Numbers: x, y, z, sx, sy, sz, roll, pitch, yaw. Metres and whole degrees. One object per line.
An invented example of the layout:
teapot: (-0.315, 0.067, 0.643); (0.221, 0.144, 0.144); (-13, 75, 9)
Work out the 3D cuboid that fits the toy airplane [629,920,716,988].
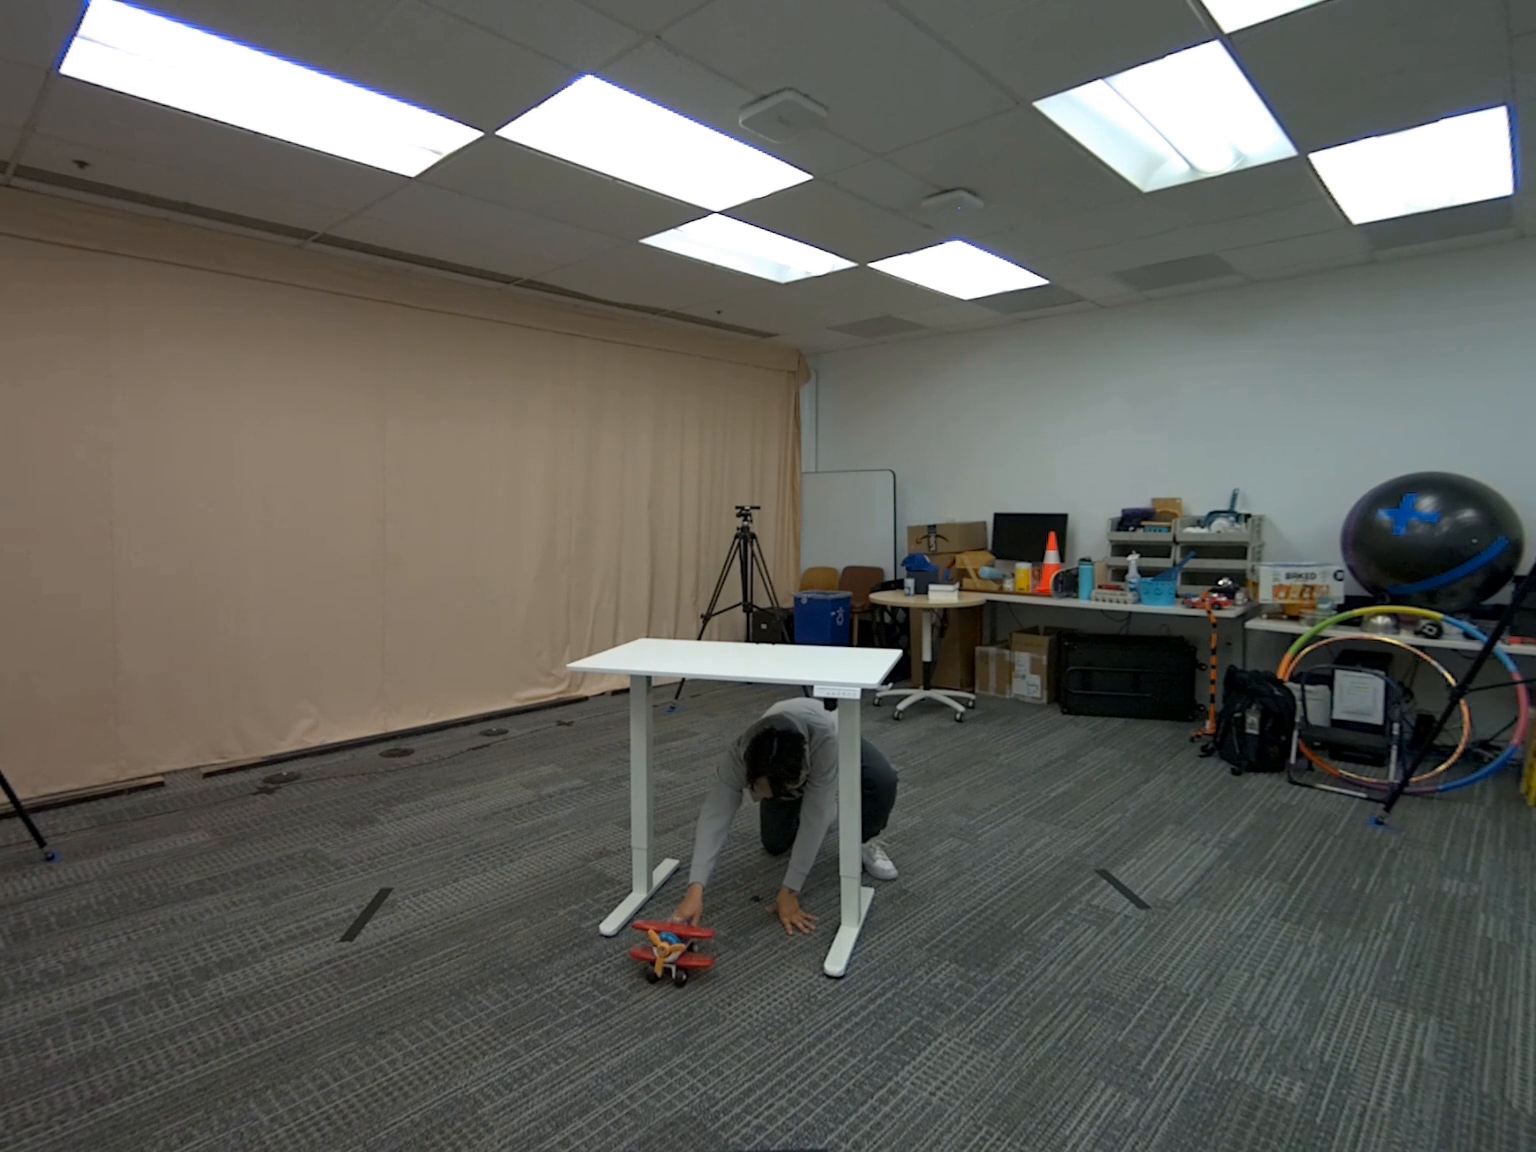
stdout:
toy airplane: (-0.291, 1.107, 2.537); (0.247, 0.156, 0.264); (-1, 5, -15)
